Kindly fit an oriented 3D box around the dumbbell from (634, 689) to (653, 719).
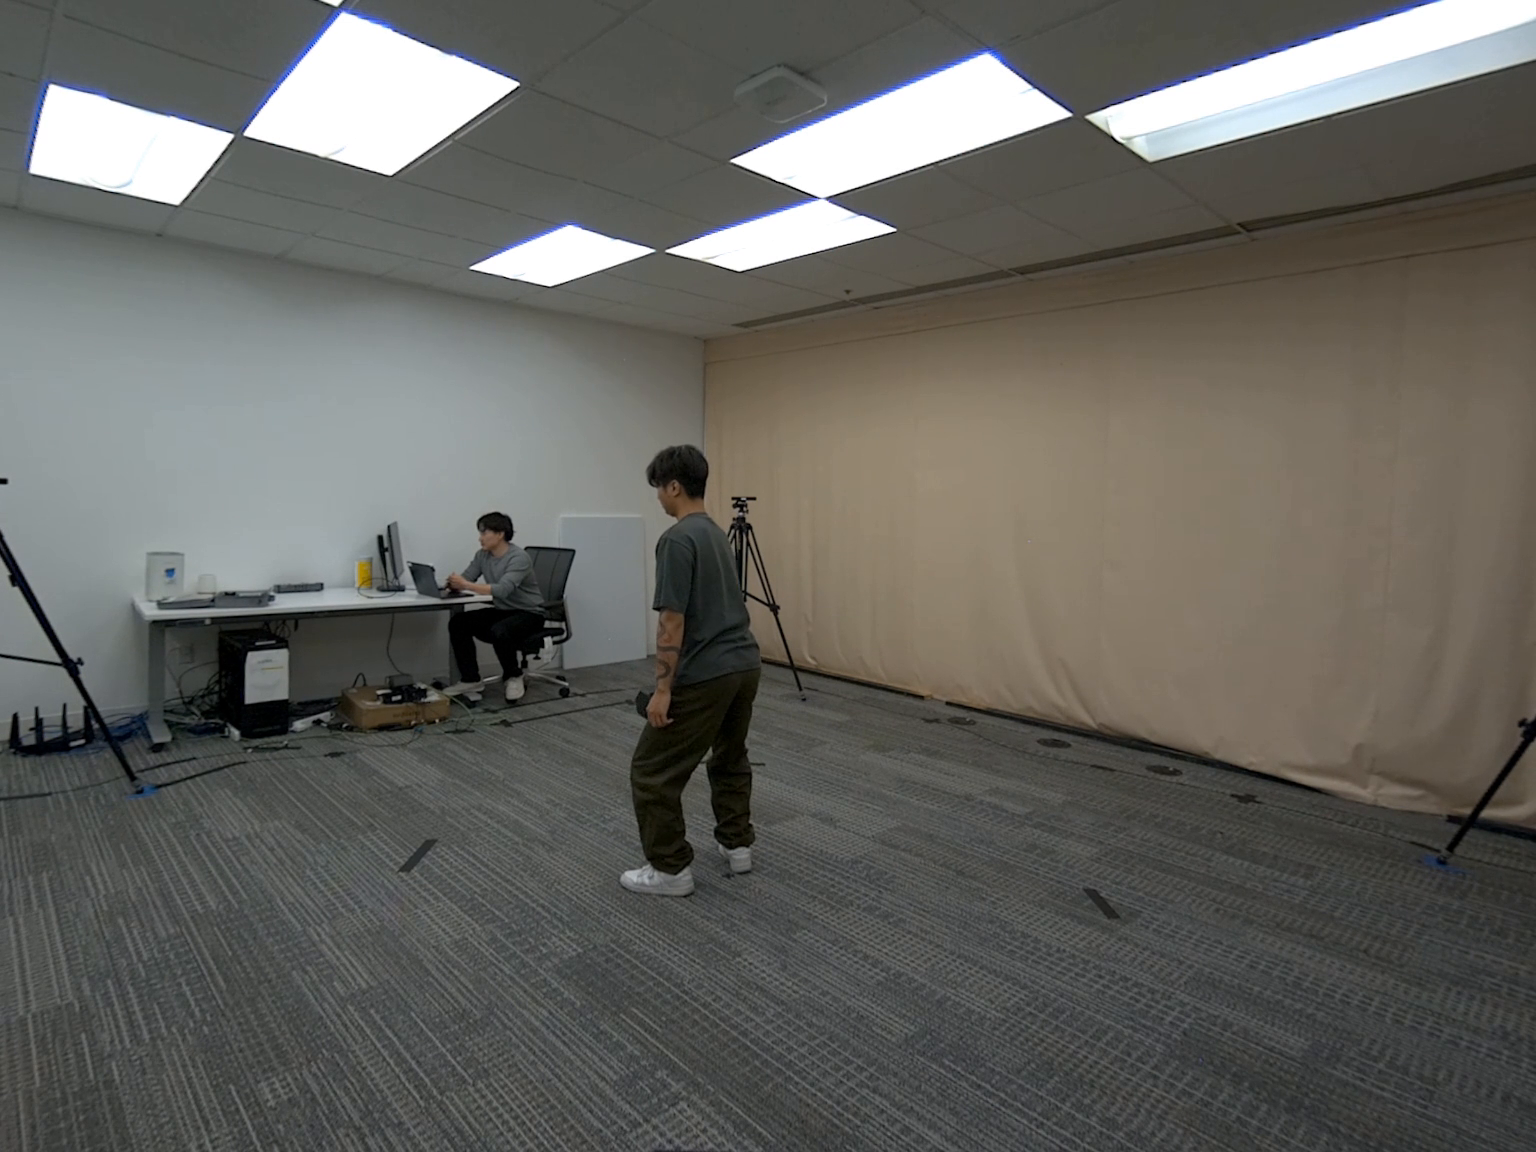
[{"bbox_3d":[-0.364,0.487,3.249,0.287,0.124,0.110,0,-19,-40],"label":"dumbbell"}]
